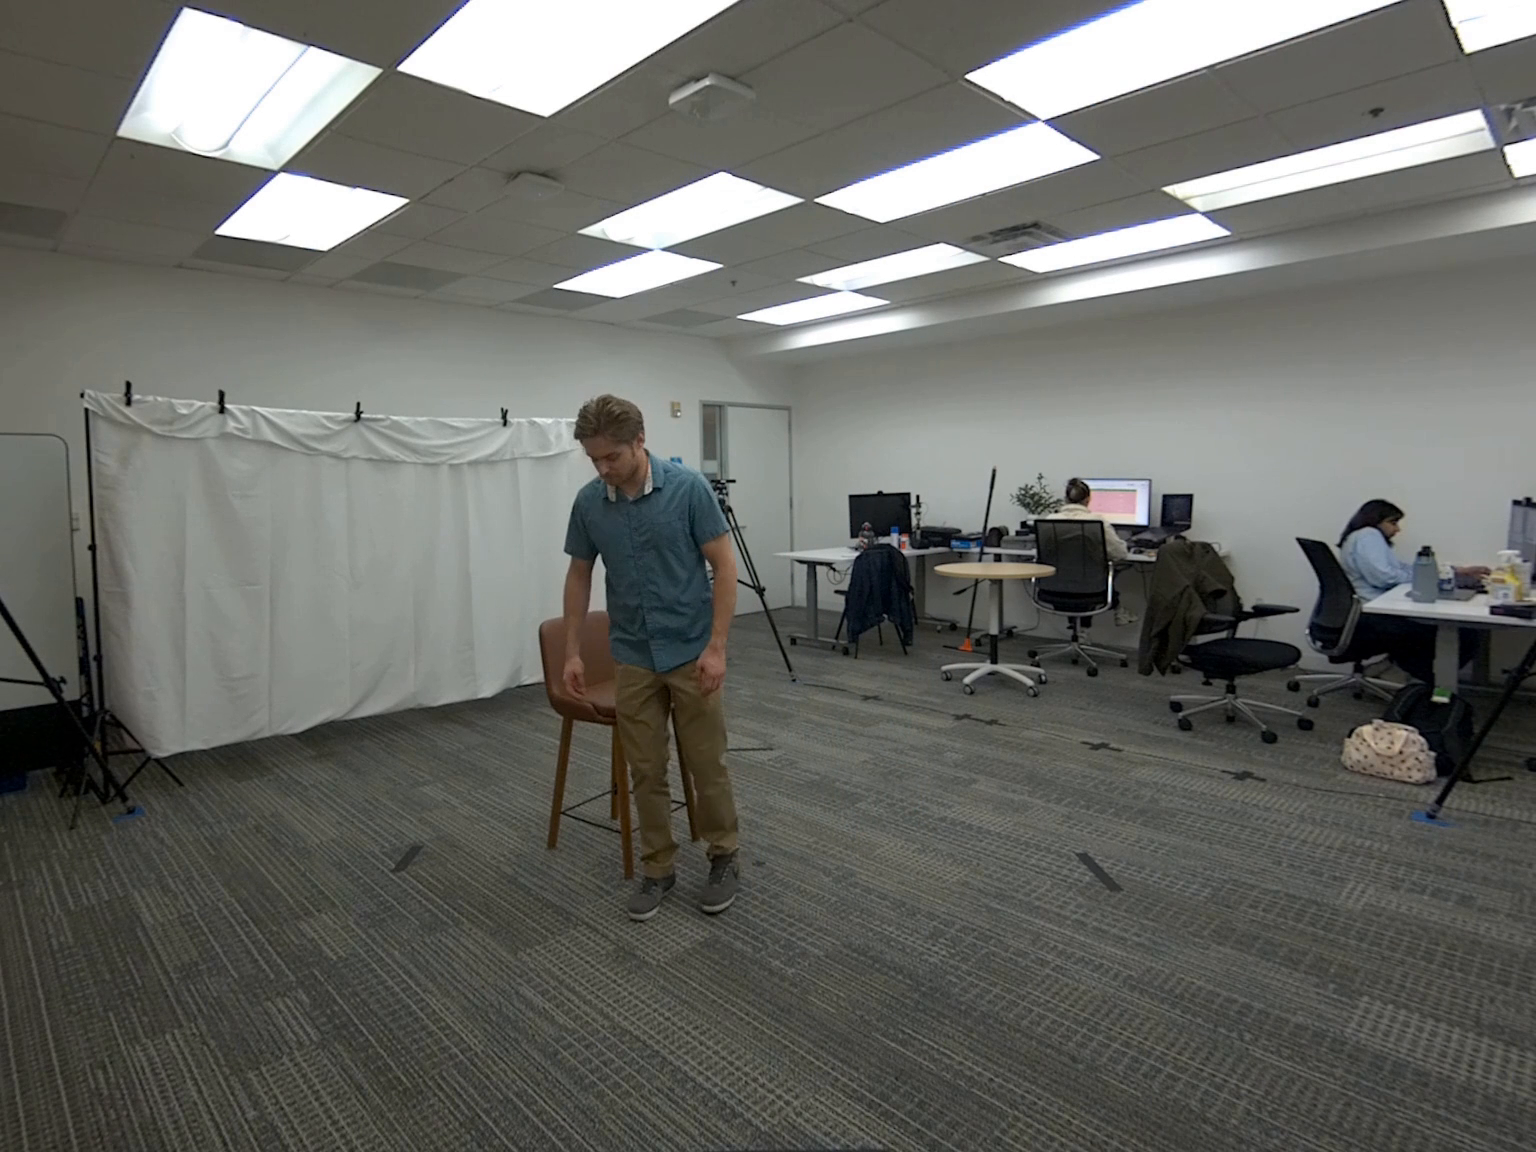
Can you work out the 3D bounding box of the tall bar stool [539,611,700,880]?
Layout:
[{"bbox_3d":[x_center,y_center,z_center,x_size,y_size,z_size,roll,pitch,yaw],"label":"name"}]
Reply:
[{"bbox_3d":[-0.574,0.603,3.278,0.480,0.888,0.445,-1,3,36],"label":"tall bar stool"}]
